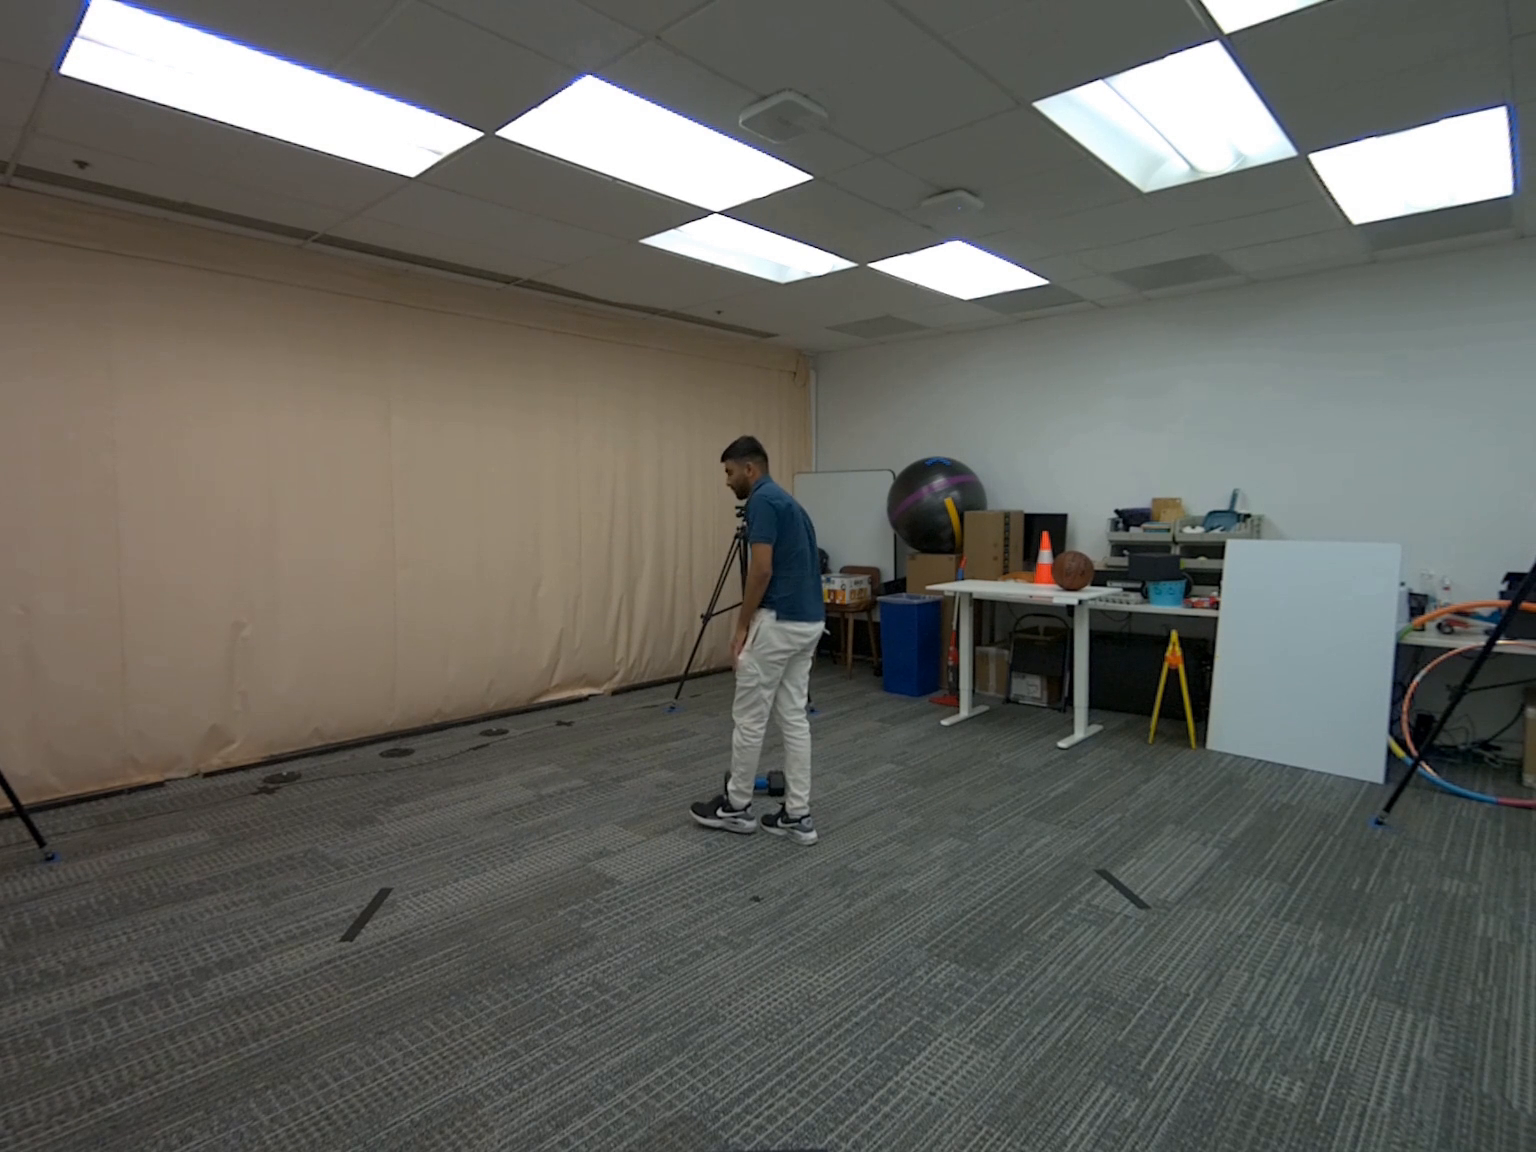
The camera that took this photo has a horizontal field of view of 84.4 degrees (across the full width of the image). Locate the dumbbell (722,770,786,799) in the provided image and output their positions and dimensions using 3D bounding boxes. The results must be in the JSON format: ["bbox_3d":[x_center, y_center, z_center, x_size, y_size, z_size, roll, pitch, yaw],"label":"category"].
[{"bbox_3d":[-0.066,1.005,4.068,0.293,0.108,0.124,-1,6,-3],"label":"dumbbell"}]
